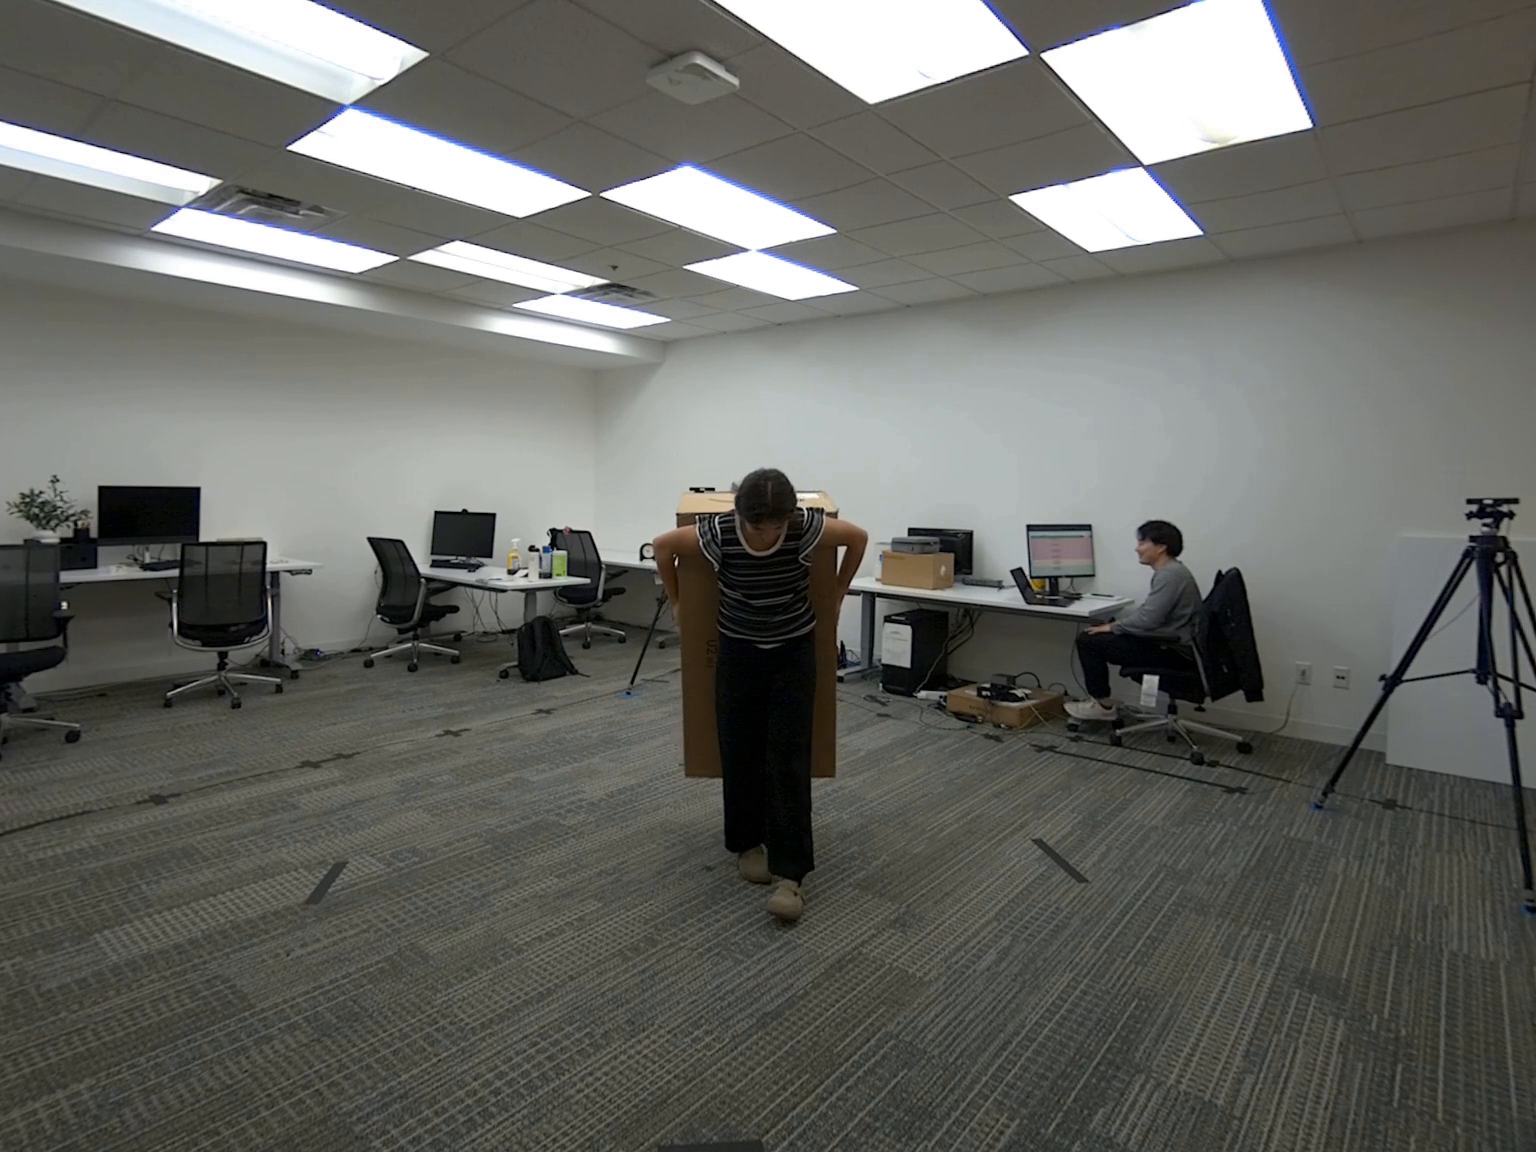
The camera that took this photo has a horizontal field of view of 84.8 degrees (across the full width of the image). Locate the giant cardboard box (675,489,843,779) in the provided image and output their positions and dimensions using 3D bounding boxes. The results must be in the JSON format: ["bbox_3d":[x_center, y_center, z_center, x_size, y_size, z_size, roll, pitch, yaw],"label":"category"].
[{"bbox_3d":[-0.046,0.211,3.295,0.577,1.013,0.431,0,13,-1],"label":"giant cardboard box"}]
